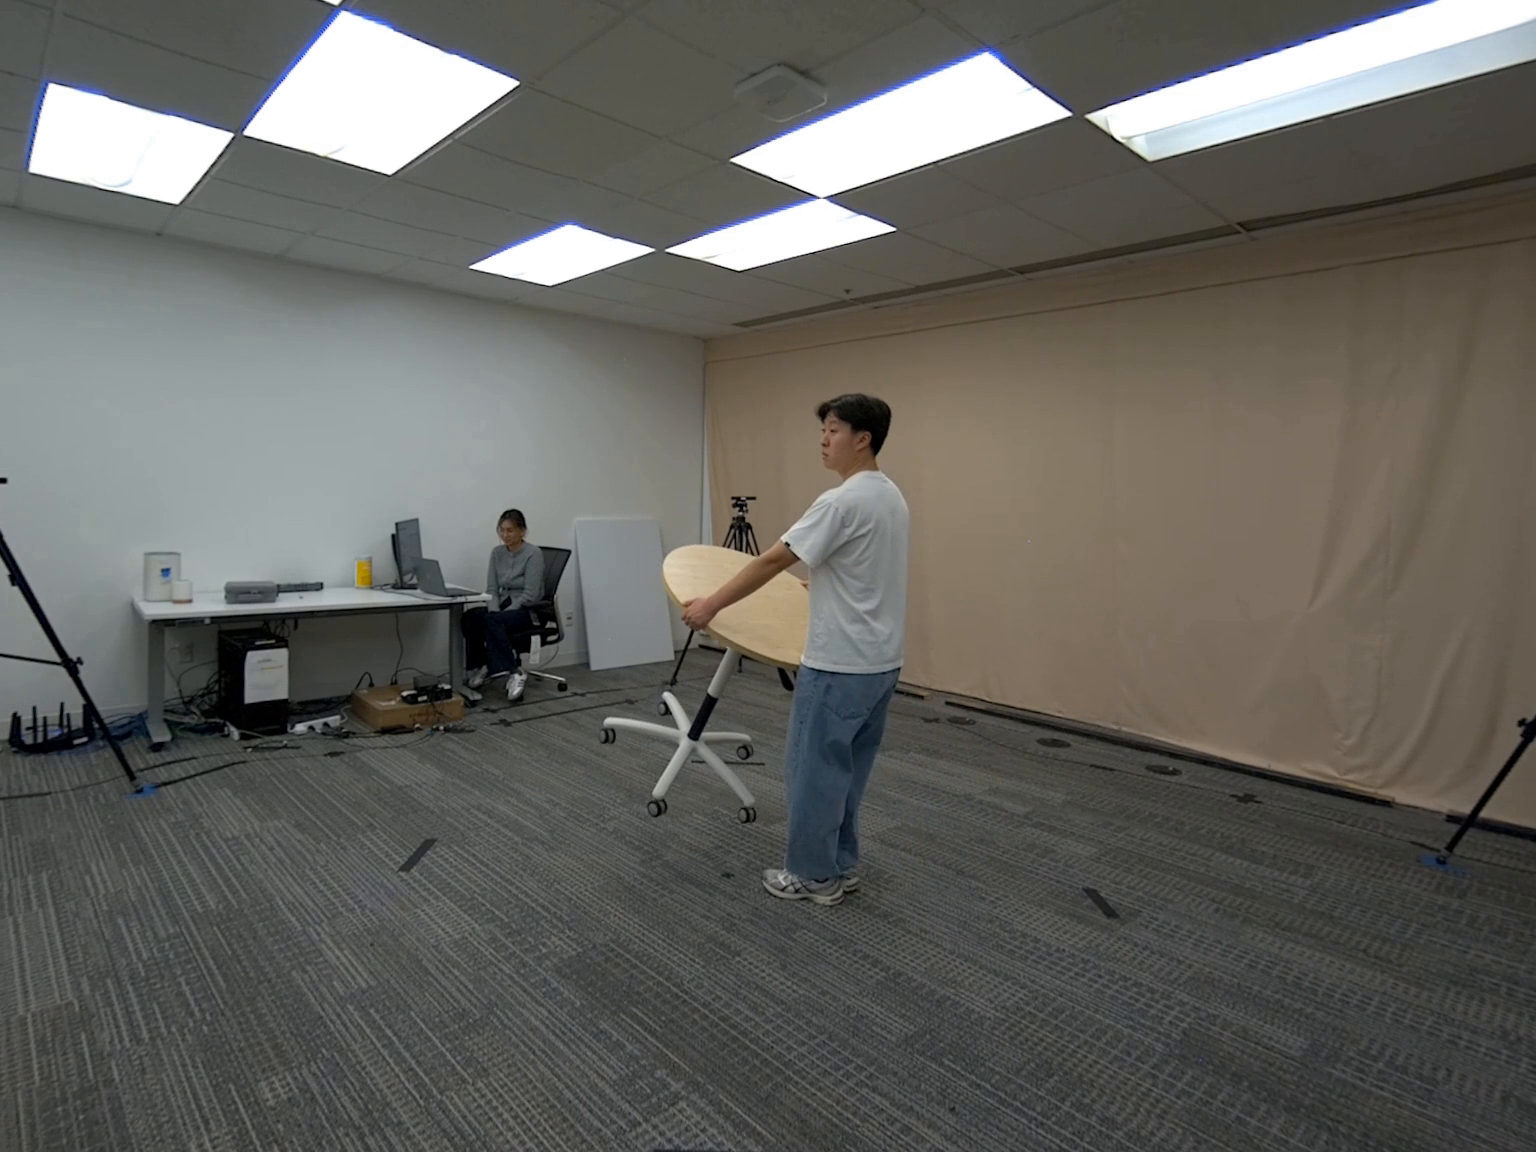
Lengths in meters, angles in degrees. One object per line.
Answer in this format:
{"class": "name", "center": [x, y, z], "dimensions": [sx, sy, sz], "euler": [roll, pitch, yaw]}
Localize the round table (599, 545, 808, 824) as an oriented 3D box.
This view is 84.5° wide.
{"class": "round table", "center": [-0.199, 0.432, 3.256], "dimensions": [0.756, 0.788, 0.777], "euler": [21, 22, -10]}
